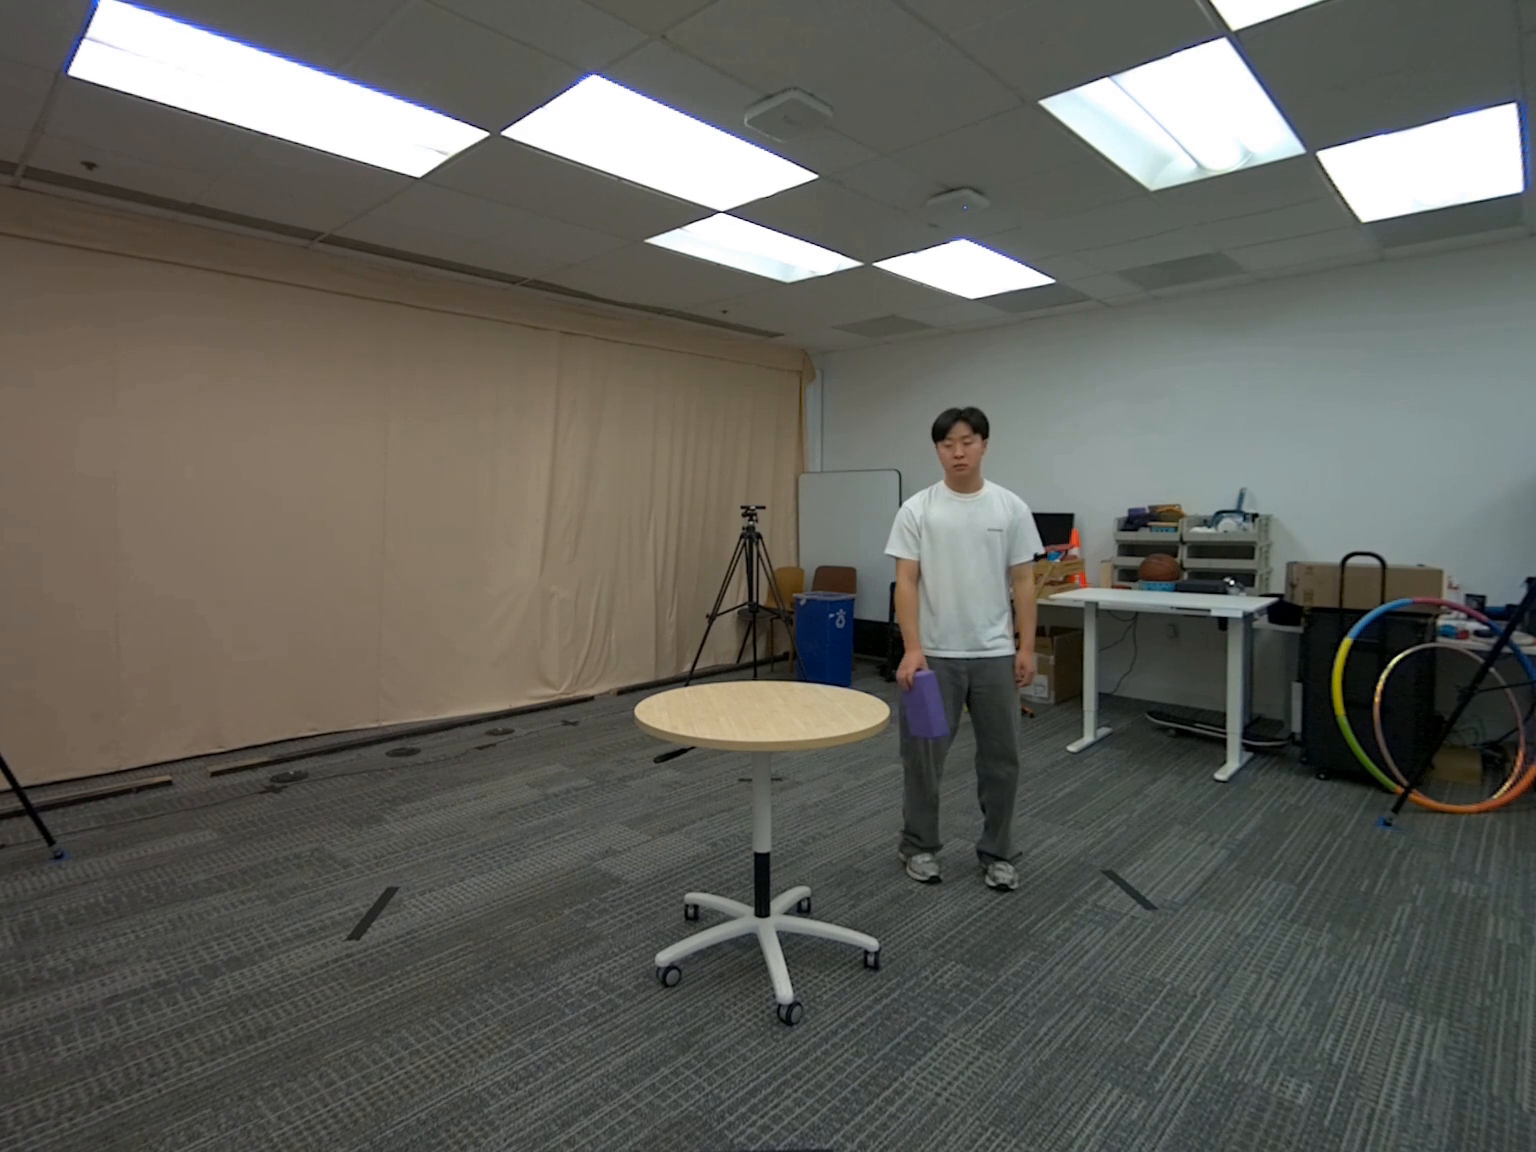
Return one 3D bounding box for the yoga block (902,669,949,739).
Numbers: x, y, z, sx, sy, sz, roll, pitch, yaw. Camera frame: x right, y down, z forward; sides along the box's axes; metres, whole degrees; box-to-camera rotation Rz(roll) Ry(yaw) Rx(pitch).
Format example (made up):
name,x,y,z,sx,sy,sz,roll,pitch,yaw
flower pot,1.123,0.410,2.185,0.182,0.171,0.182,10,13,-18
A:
name,x,y,z,sx,sy,sz,roll,pitch,yaw
yoga block,0.571,0.456,3.008,0.075,0.229,0.152,-10,-1,-24
